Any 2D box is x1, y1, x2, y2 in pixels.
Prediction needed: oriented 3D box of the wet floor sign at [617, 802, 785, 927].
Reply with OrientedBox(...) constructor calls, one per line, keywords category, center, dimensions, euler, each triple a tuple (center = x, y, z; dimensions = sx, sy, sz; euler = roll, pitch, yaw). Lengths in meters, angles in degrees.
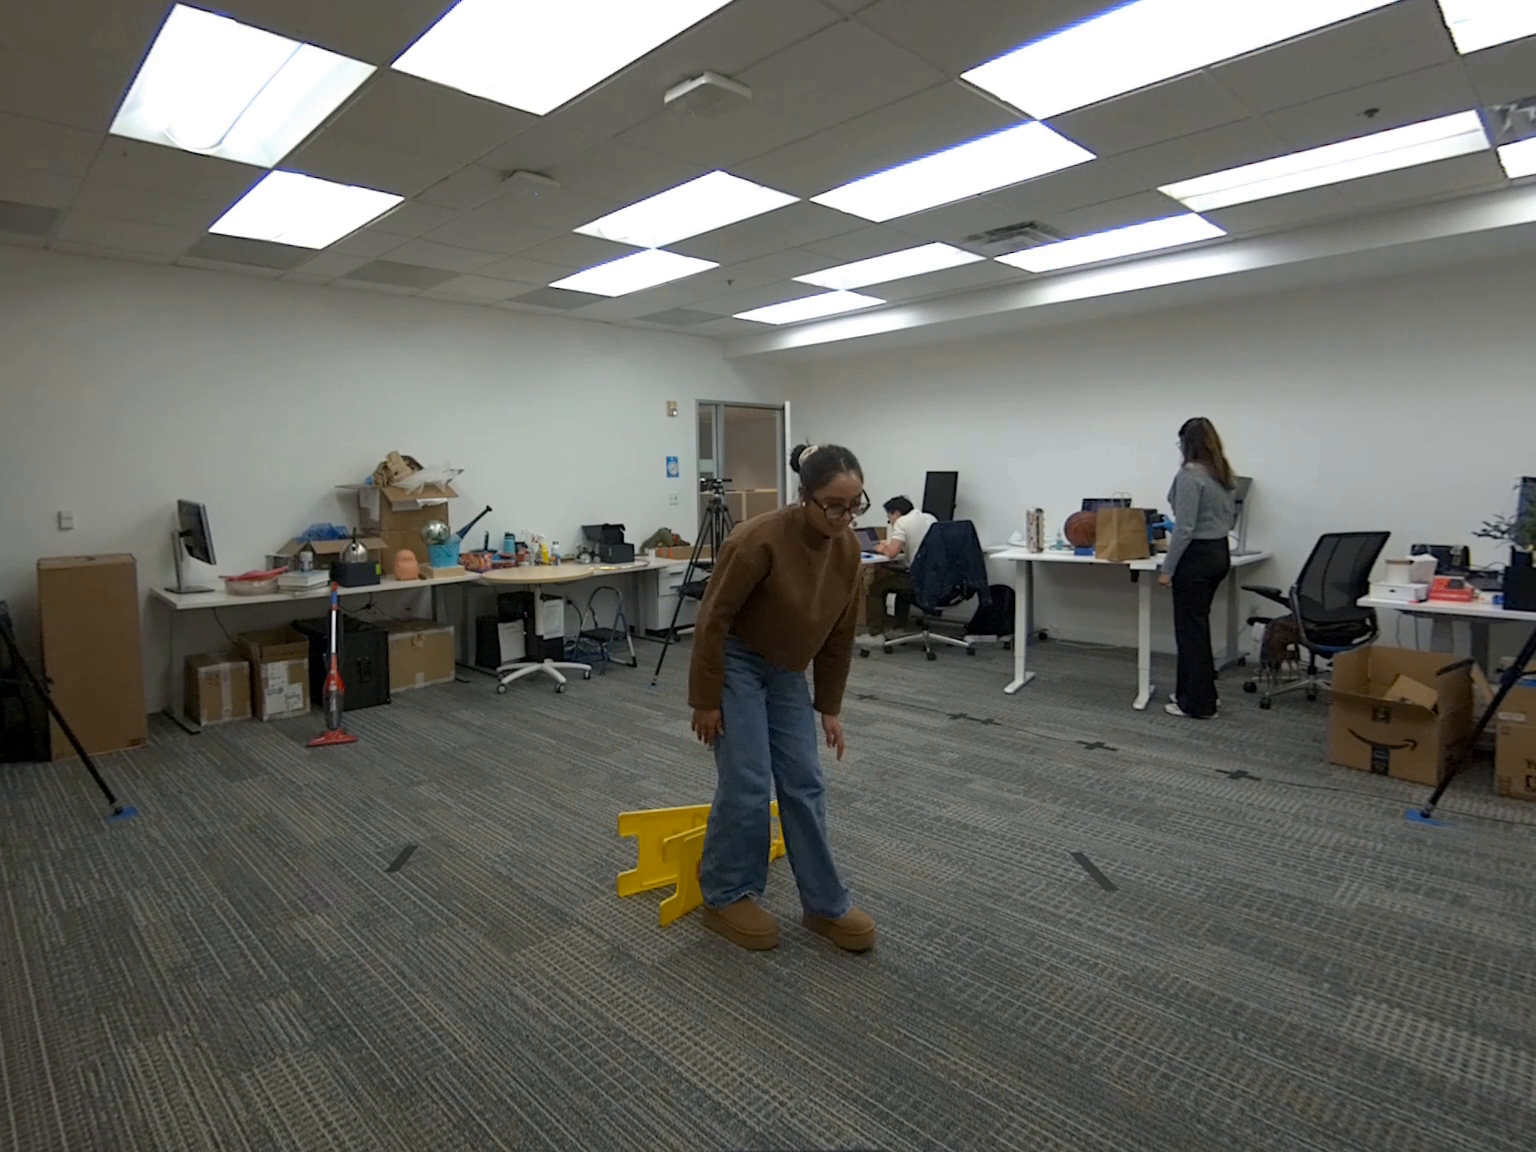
OrientedBox(category="wet floor sign", center=(-0.176, 0.937, 2.967), dimensions=(0.628, 0.281, 0.299), euler=(-3, 6, -39))
